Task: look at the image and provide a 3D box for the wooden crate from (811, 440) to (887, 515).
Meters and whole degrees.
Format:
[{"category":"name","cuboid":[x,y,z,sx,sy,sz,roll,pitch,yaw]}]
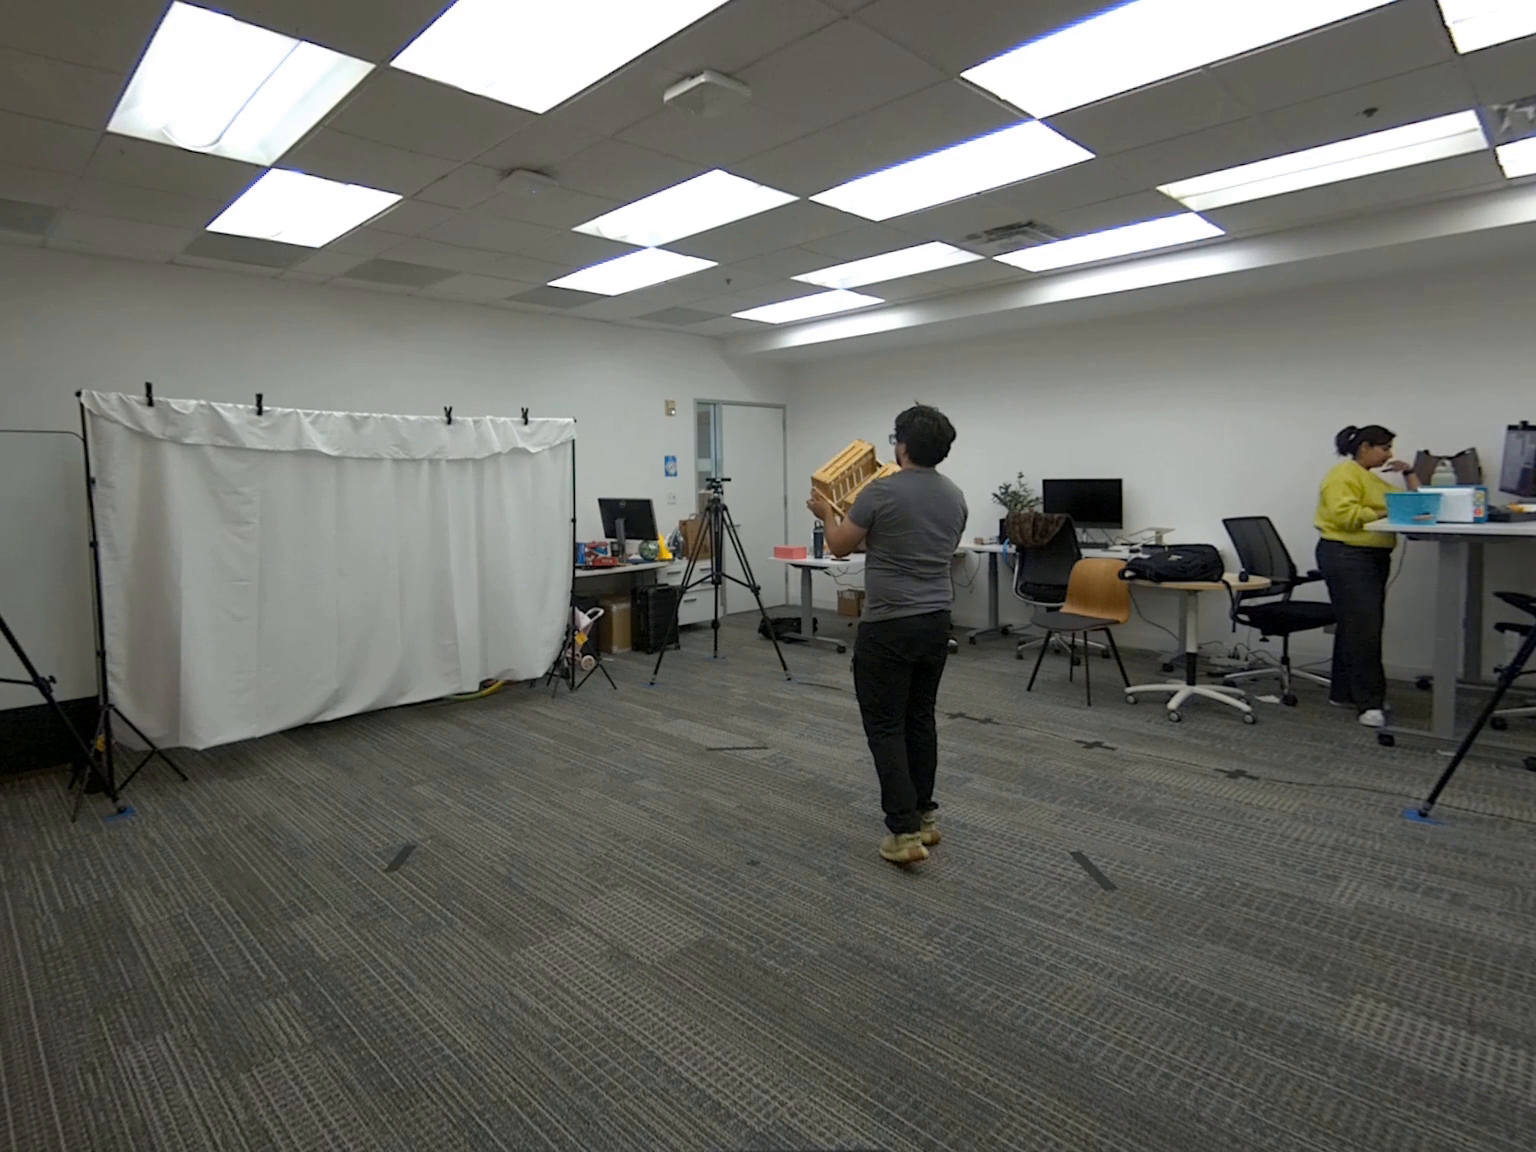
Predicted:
[{"category":"wooden crate","cuboid":[0.395,-0.340,3.583,0.284,0.292,0.323,29,57,37]}]
